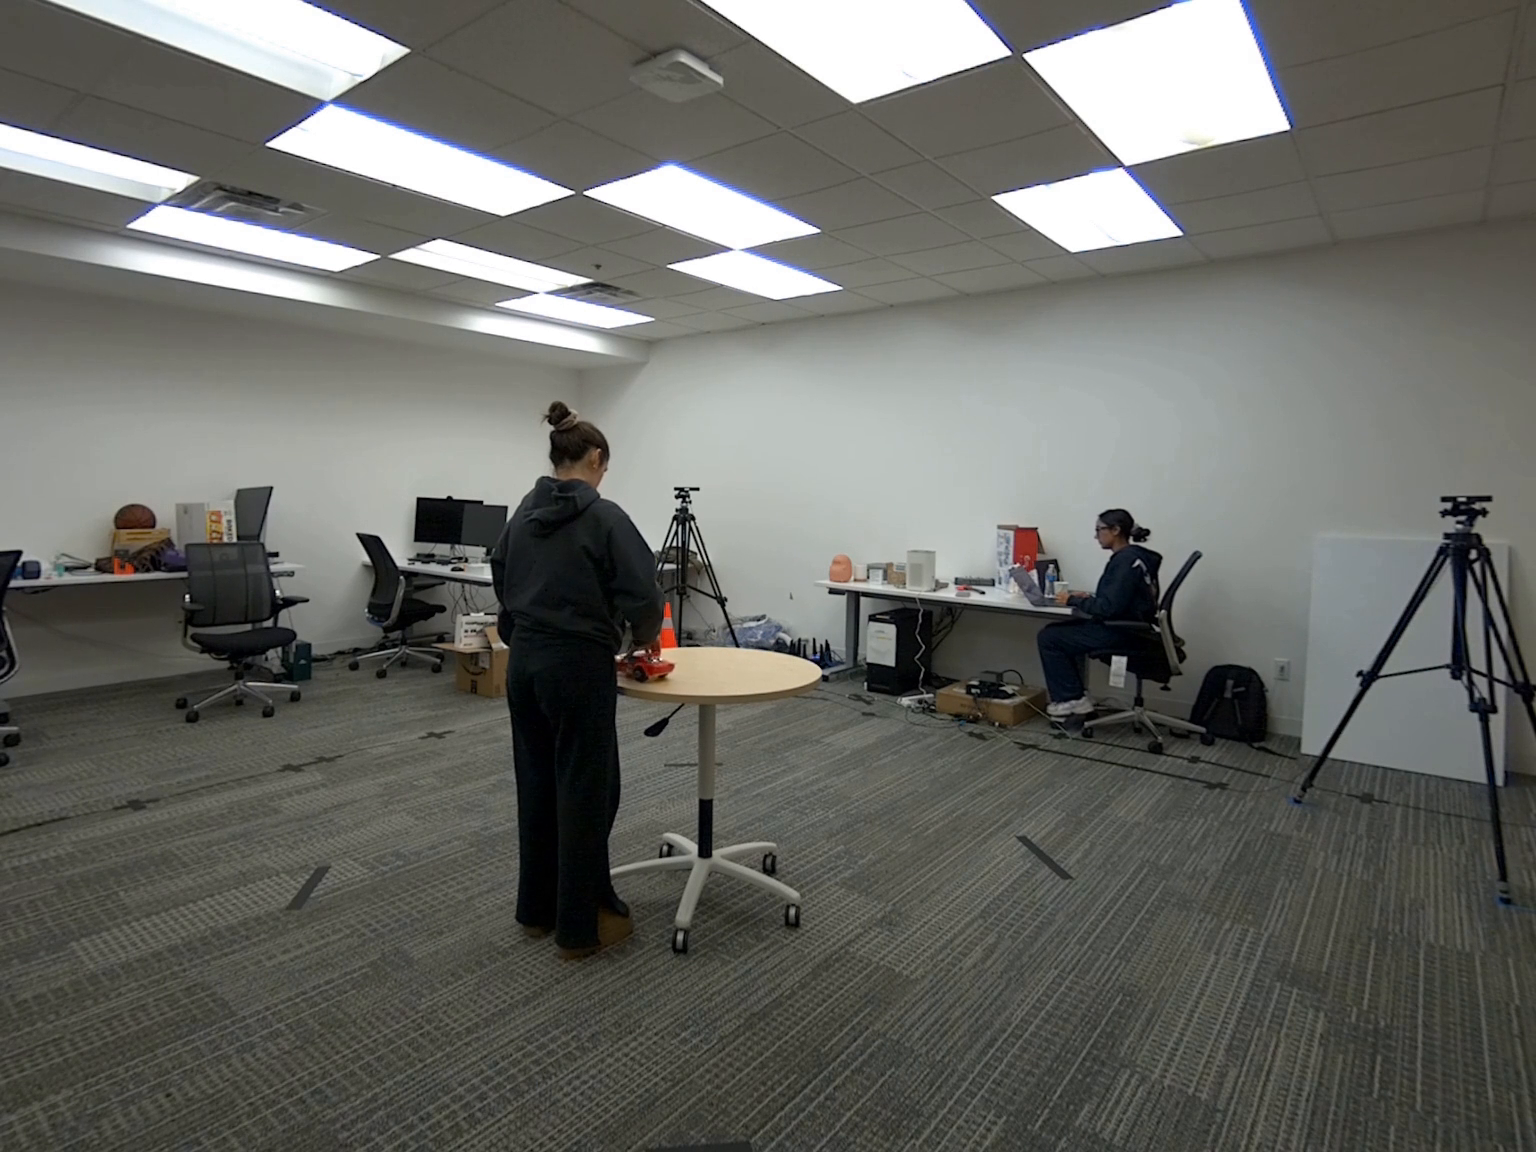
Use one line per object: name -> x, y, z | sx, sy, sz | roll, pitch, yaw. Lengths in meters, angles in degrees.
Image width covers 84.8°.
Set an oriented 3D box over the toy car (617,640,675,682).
toy car -> -0.408, 0.294, 2.715 | 0.261, 0.083, 0.126 | -10, -4, 41
